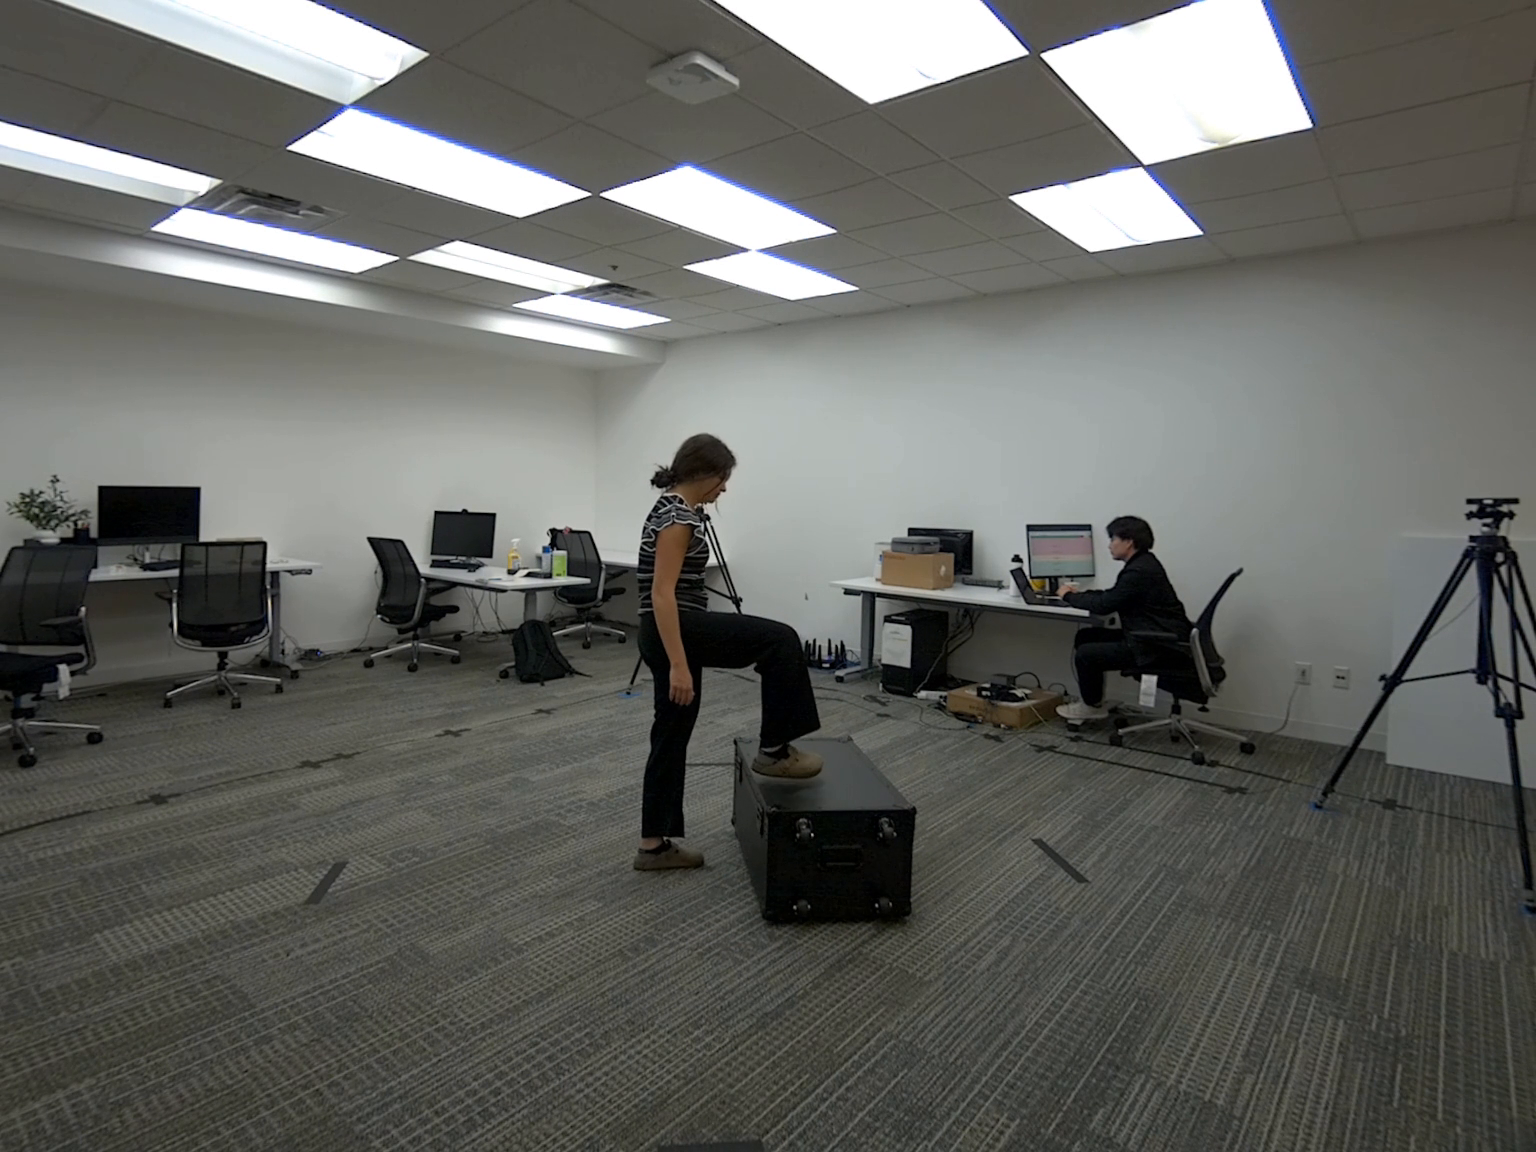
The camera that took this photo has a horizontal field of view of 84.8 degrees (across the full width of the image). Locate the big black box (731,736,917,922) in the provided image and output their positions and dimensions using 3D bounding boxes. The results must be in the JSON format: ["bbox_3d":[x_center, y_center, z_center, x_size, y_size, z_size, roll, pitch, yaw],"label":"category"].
[{"bbox_3d":[0.160,0.884,3.065,0.516,0.395,0.873,0,5,-10],"label":"big black box"}]
